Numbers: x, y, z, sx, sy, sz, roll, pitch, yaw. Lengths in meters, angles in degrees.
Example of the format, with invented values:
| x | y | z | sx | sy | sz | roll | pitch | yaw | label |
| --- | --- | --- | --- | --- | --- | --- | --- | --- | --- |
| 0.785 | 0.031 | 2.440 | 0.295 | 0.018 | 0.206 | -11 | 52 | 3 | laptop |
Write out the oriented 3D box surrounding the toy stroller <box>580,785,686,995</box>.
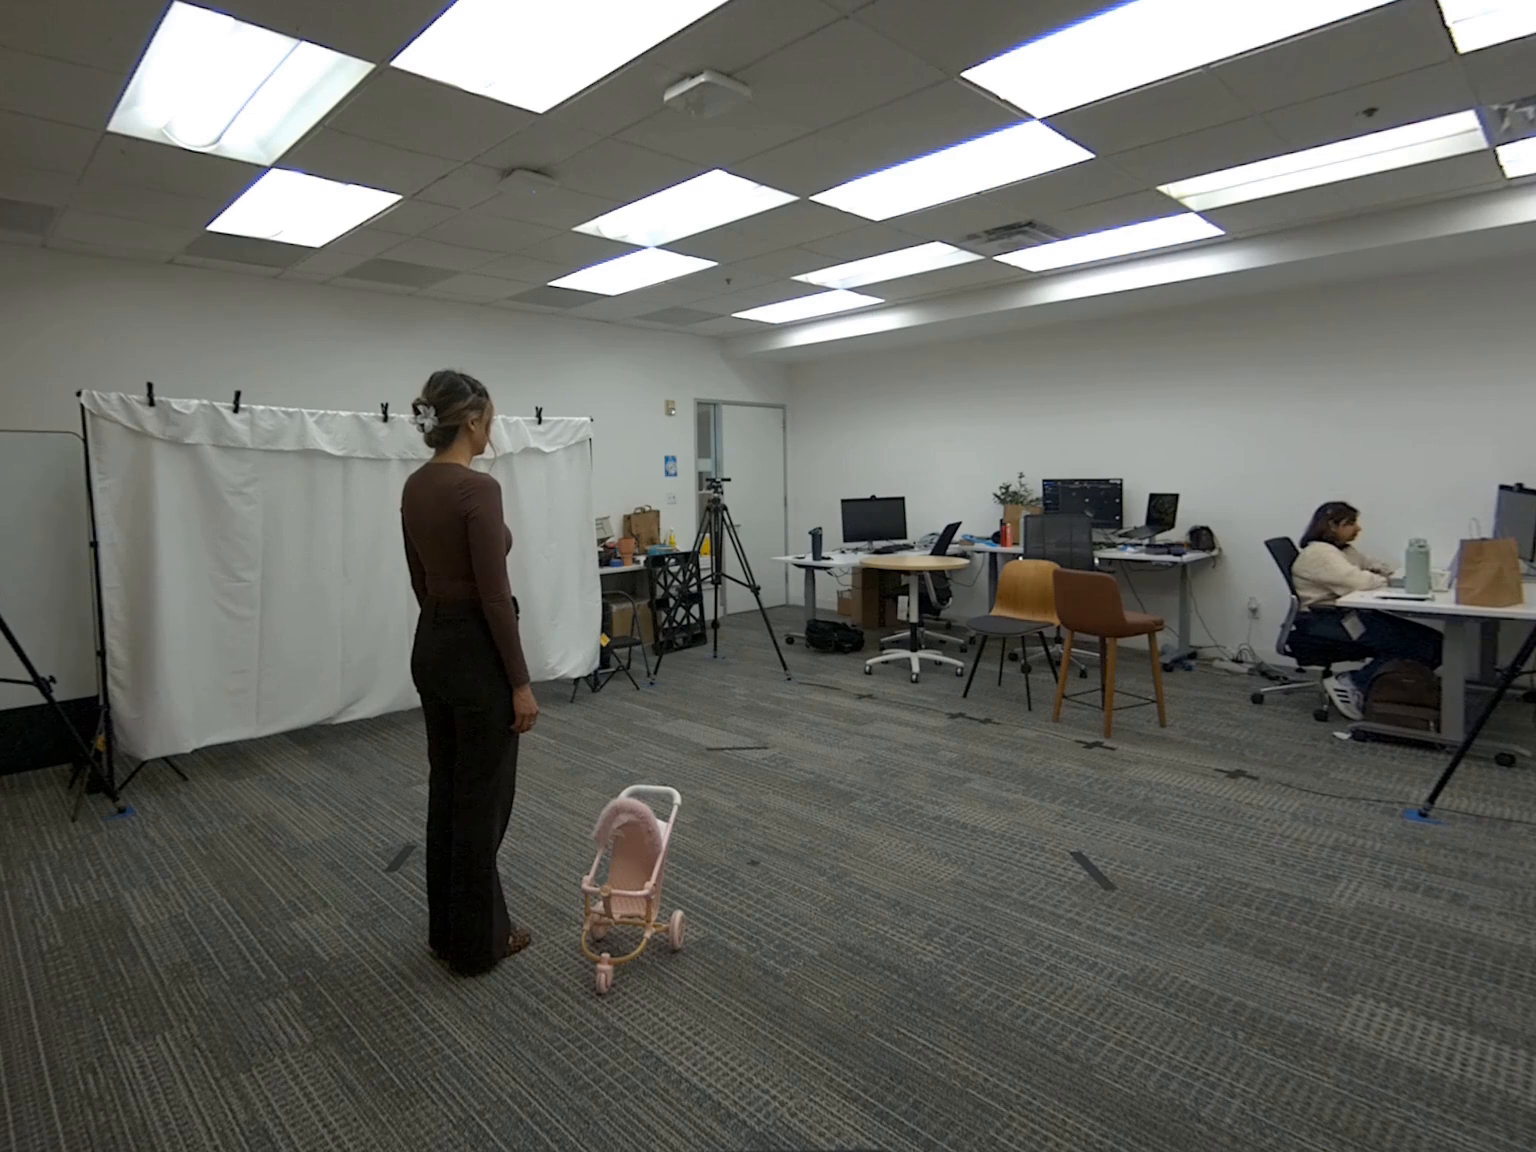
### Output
| x | y | z | sx | sy | sz | roll | pitch | yaw | label |
| --- | --- | --- | --- | --- | --- | --- | --- | --- | --- |
| -0.411 | 0.899 | 2.513 | 0.286 | 0.540 | 0.332 | 0 | -12 | 18 | toy stroller |
